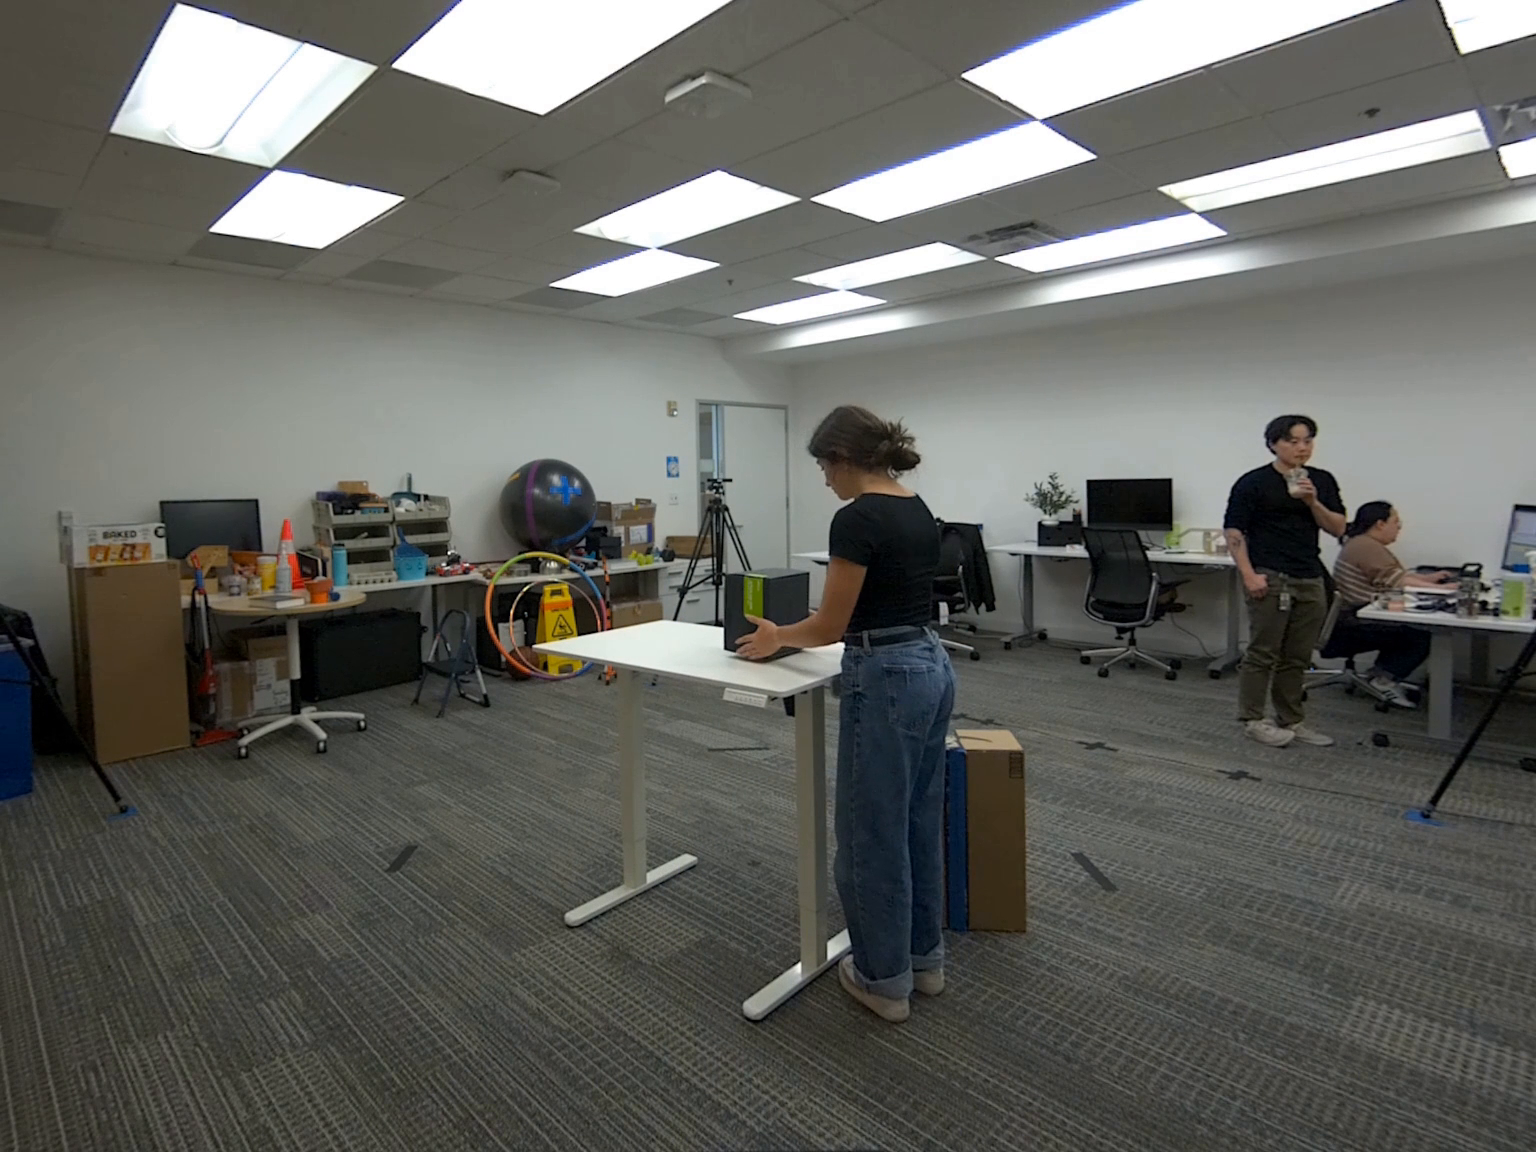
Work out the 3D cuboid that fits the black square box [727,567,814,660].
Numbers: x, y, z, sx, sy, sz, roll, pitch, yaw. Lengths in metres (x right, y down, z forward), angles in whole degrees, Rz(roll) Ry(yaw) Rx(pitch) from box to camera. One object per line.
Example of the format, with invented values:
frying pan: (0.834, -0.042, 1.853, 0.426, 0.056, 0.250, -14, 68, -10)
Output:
black square box: (0.009, 0.102, 2.500, 0.160, 0.227, 0.212, 3, 6, 35)
